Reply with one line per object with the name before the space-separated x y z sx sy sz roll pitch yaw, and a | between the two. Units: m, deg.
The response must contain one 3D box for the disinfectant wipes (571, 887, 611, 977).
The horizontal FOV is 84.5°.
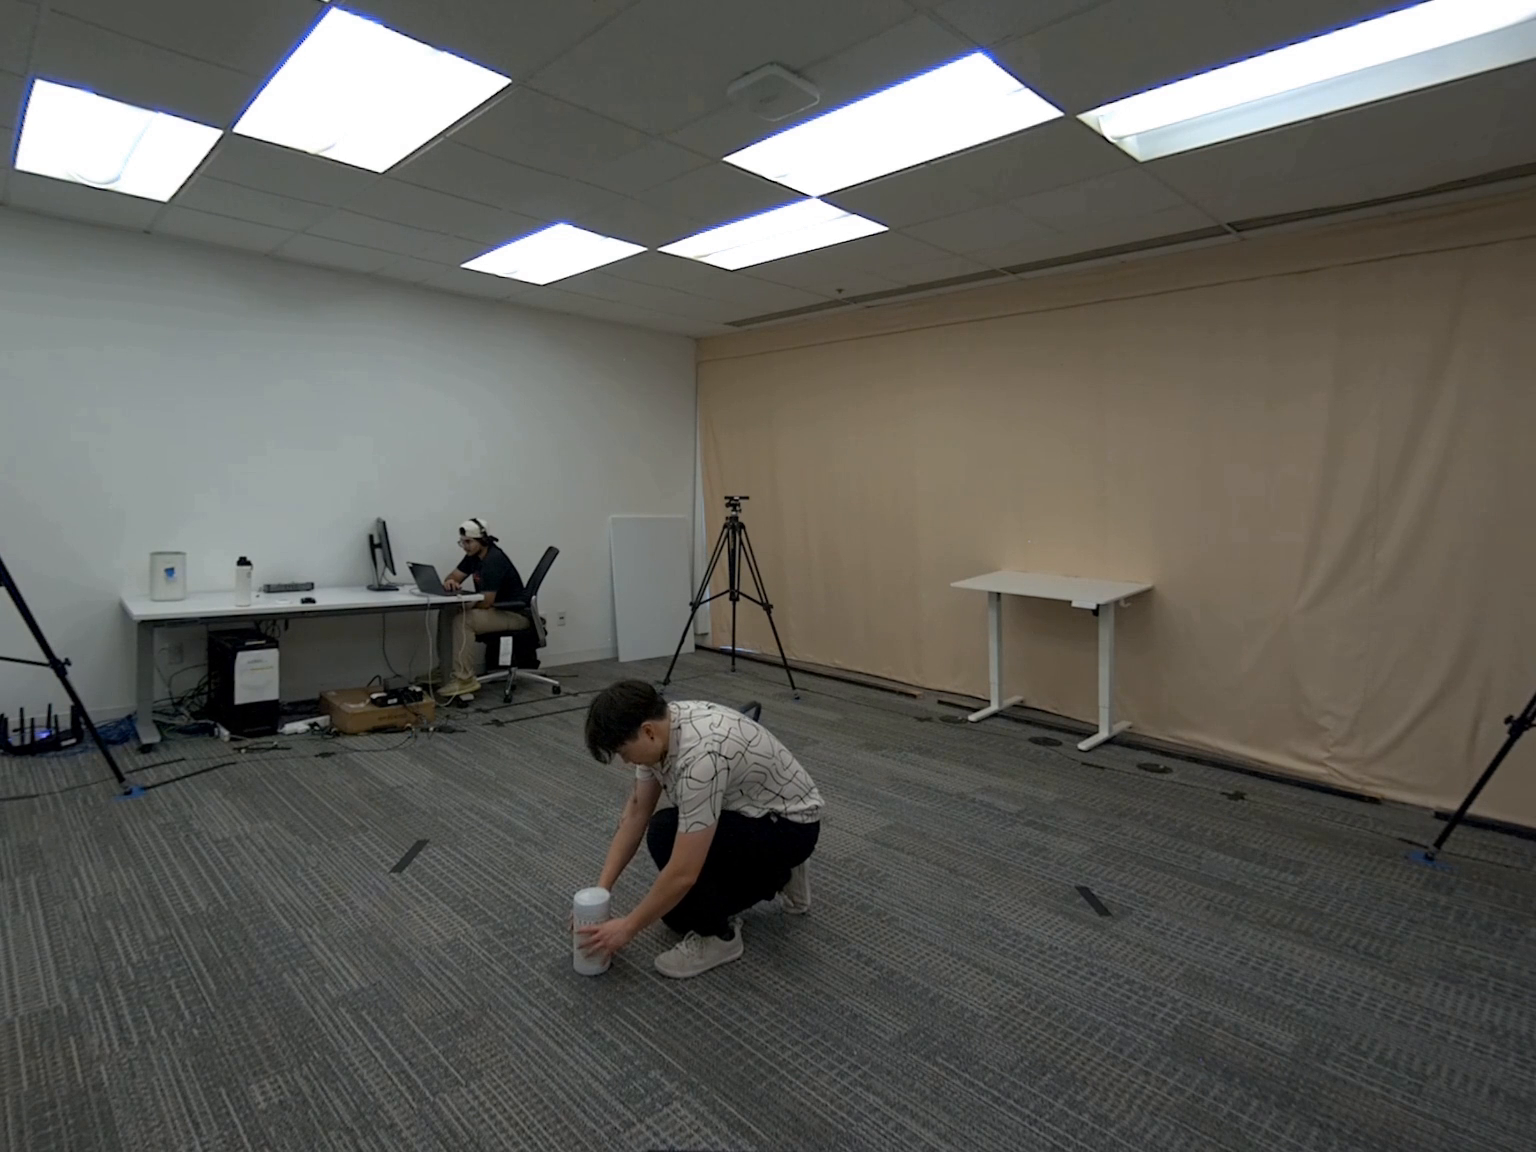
disinfectant wipes | -0.518 1.039 2.483 0.118 0.216 0.118 0 5 -1
